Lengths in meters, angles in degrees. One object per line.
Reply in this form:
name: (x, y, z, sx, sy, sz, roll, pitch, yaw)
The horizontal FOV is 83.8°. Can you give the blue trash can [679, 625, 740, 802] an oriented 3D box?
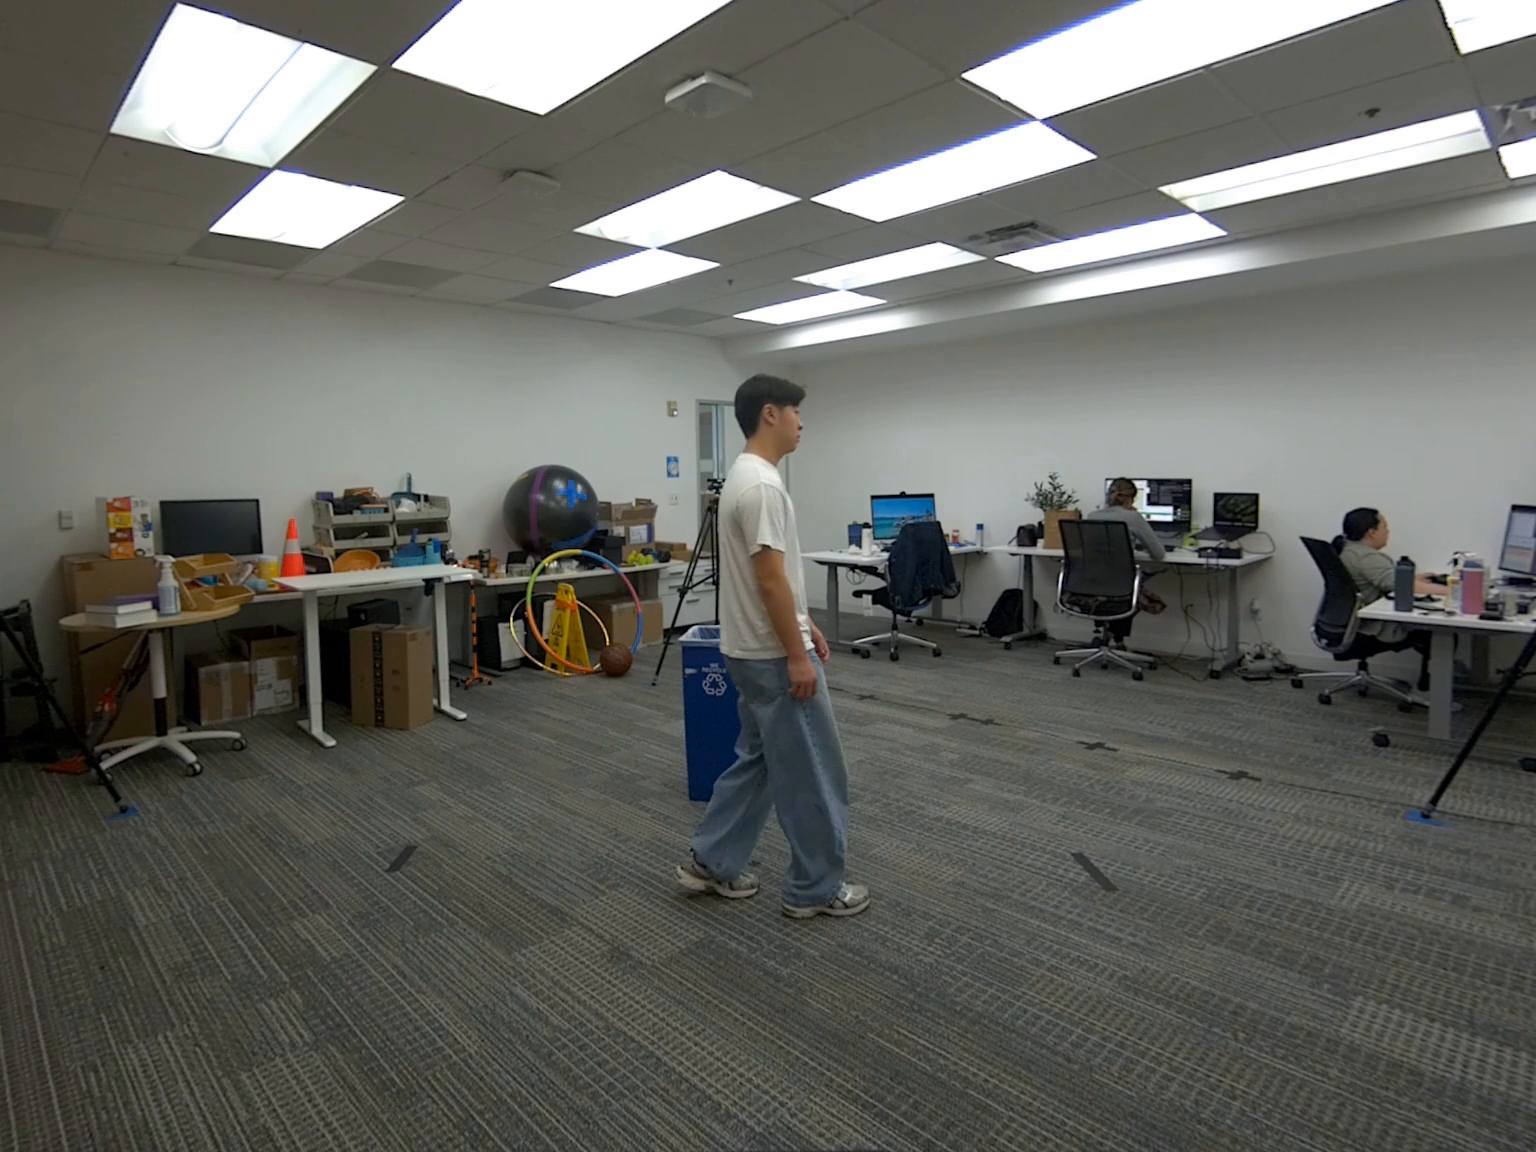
blue trash can: (-0.180, 0.609, 3.832, 0.377, 0.711, 0.376, -1, 4, 8)
